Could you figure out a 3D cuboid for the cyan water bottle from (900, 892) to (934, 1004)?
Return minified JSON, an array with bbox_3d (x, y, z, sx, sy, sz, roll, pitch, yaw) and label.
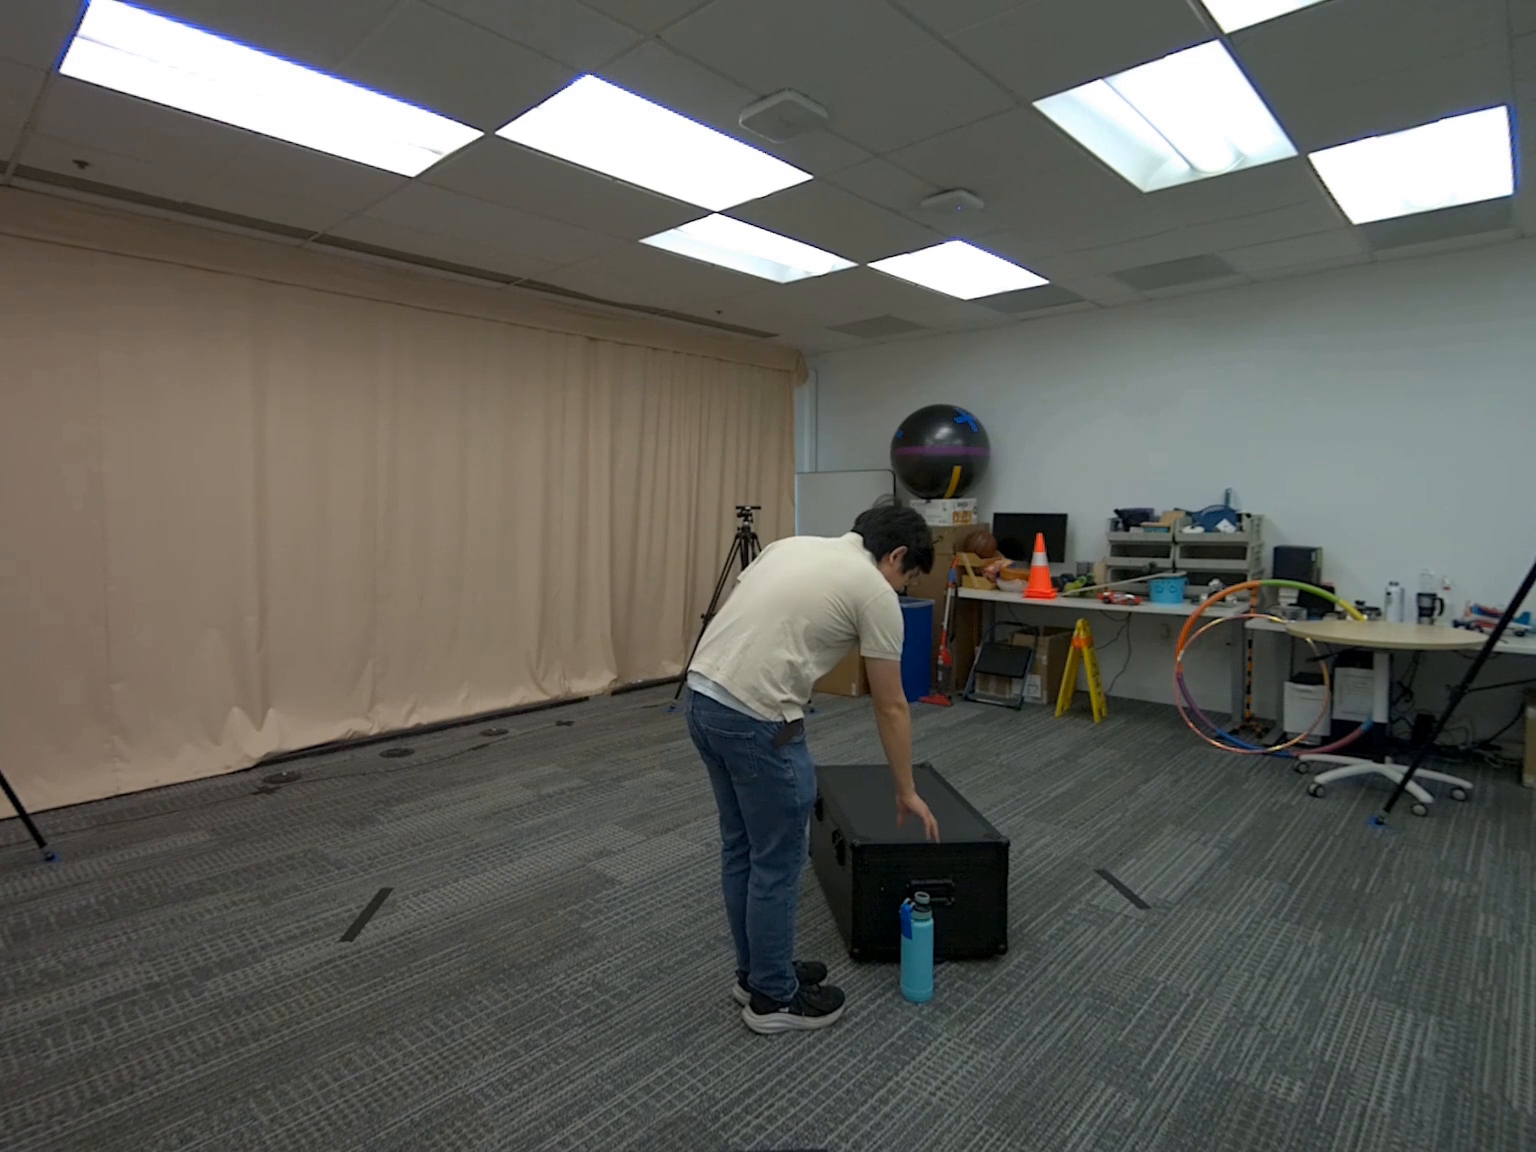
[{"bbox_3d":[0.426,1.047,2.400,0.092,0.283,0.092,1,2,-2],"label":"cyan water bottle"}]
